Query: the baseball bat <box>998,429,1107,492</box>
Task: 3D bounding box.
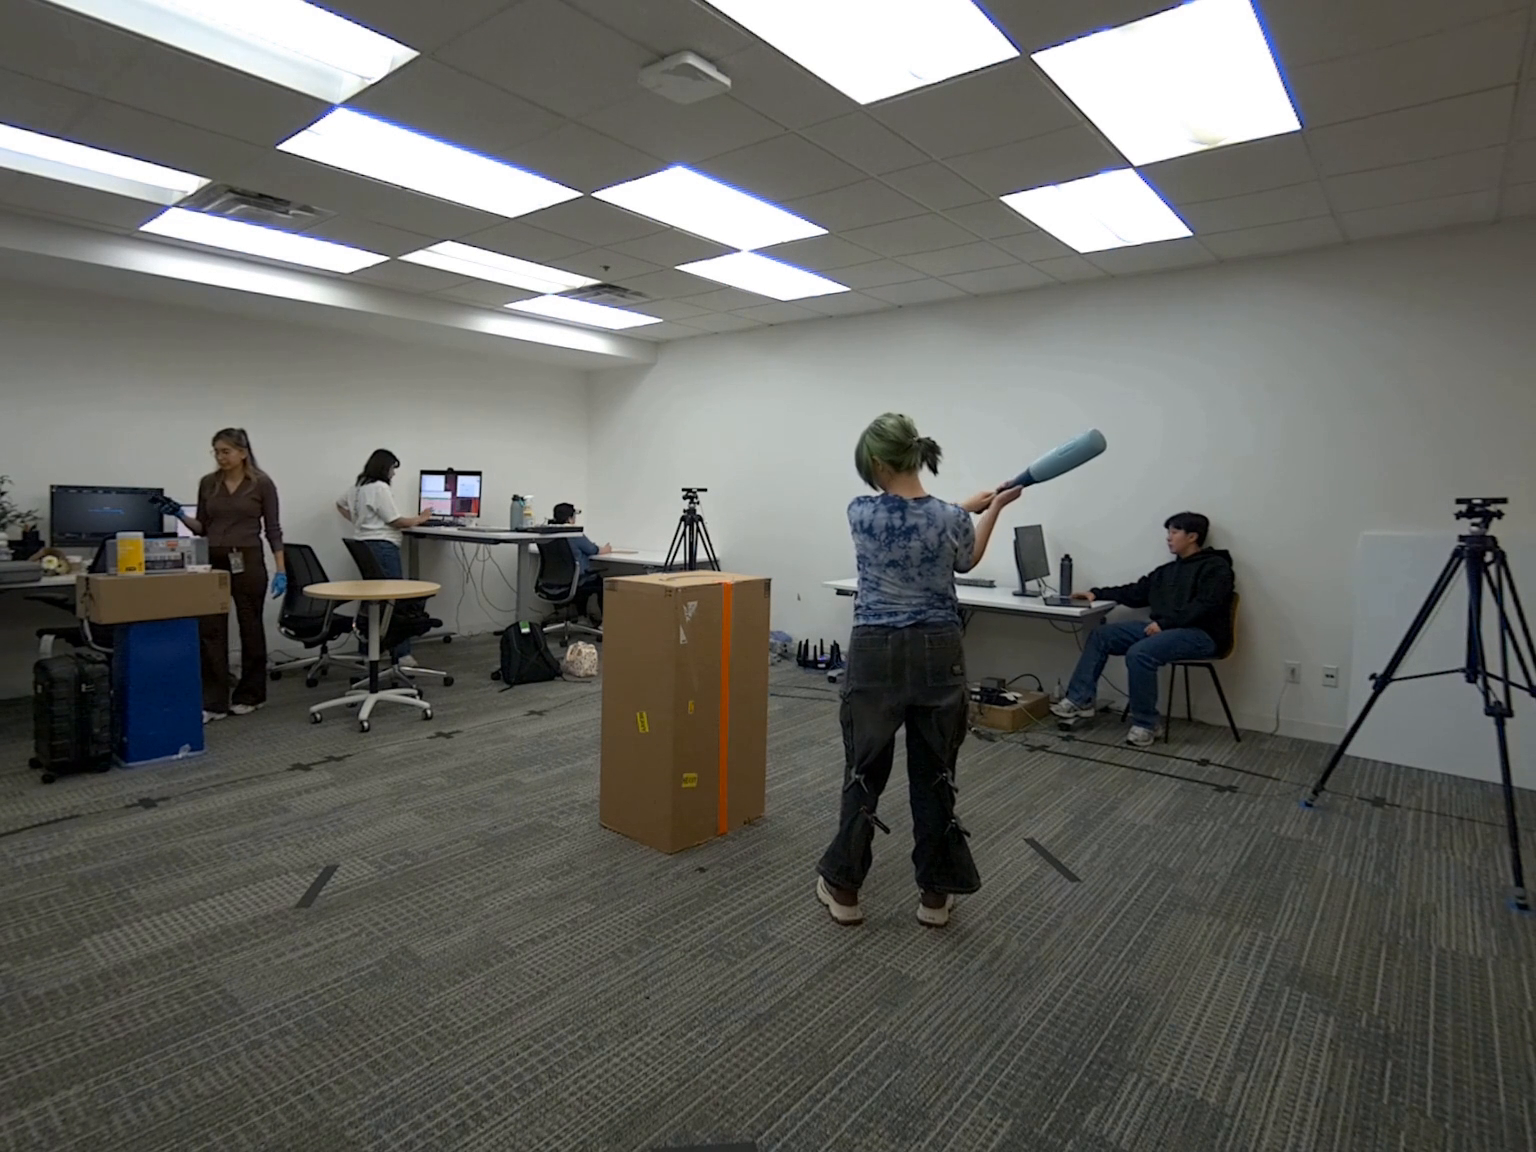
[{"bbox_3d":[0.858,-0.321,2.835,0.086,0.091,0.548,-2,-19,-34],"label":"baseball bat"}]
